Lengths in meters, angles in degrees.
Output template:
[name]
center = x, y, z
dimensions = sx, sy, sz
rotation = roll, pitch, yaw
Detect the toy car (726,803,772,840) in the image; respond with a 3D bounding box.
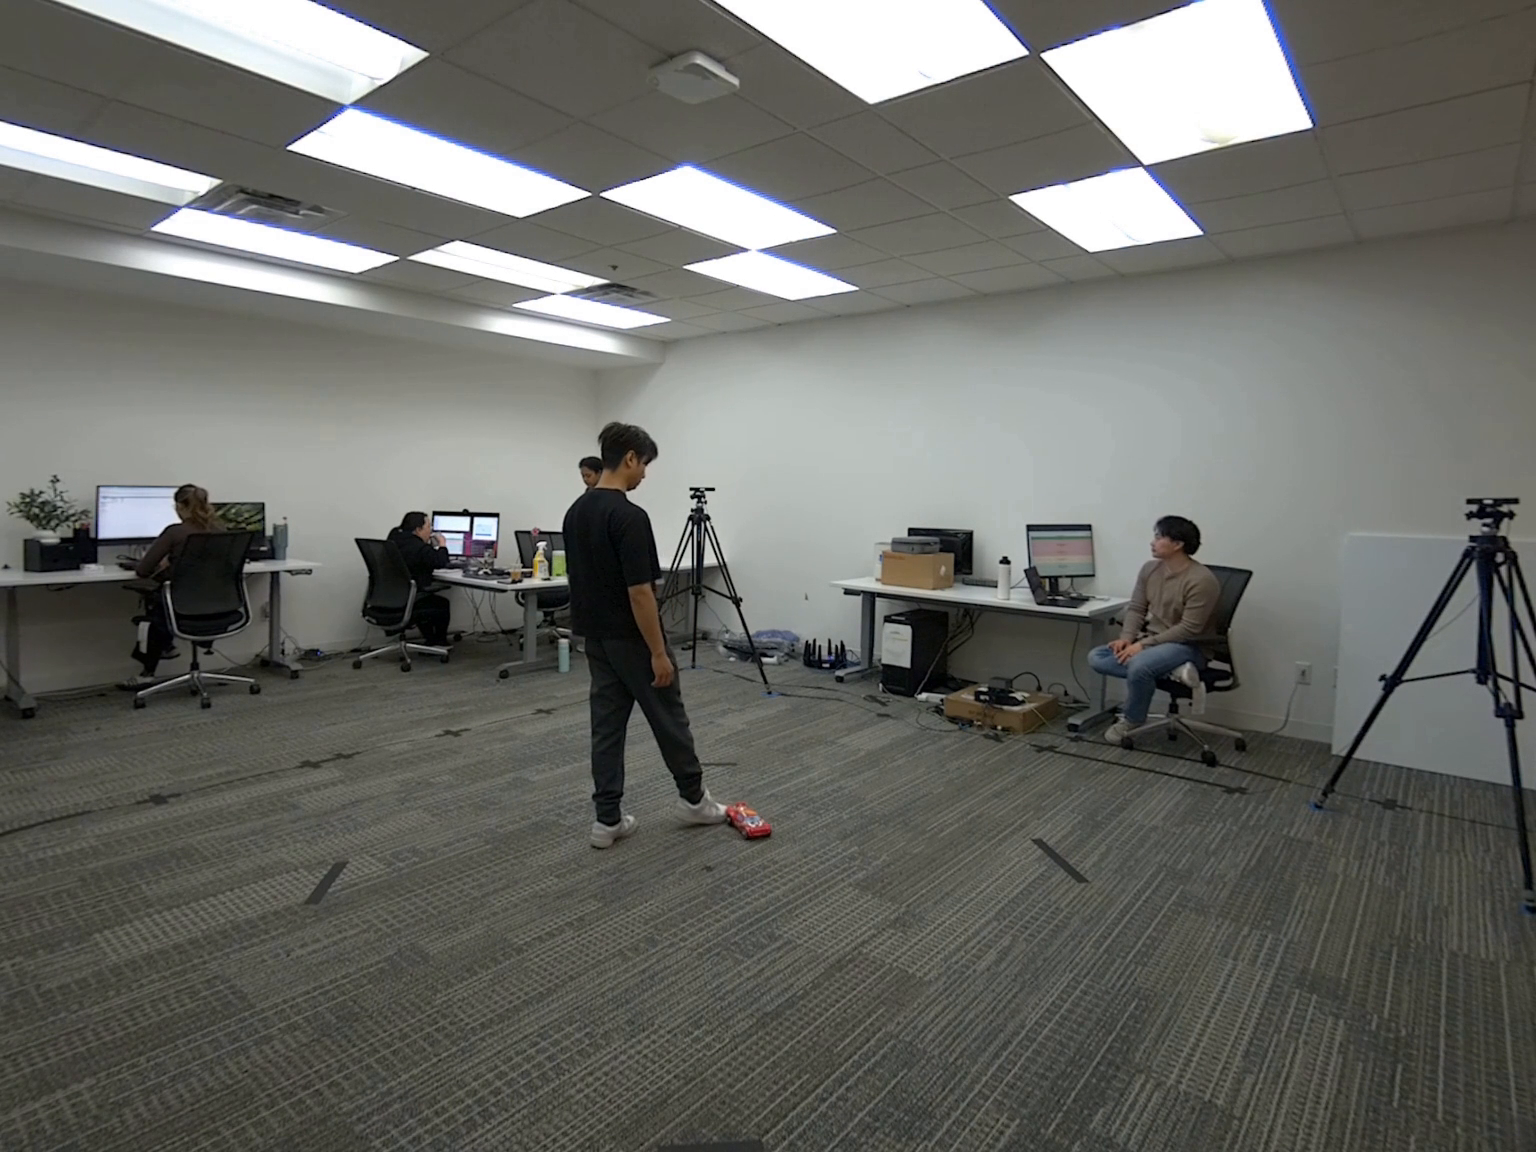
[toy car]
center = -0.097, 1.001, 3.481
dimensions = 0.127, 0.082, 0.263
rotation = -1, 15, -25
